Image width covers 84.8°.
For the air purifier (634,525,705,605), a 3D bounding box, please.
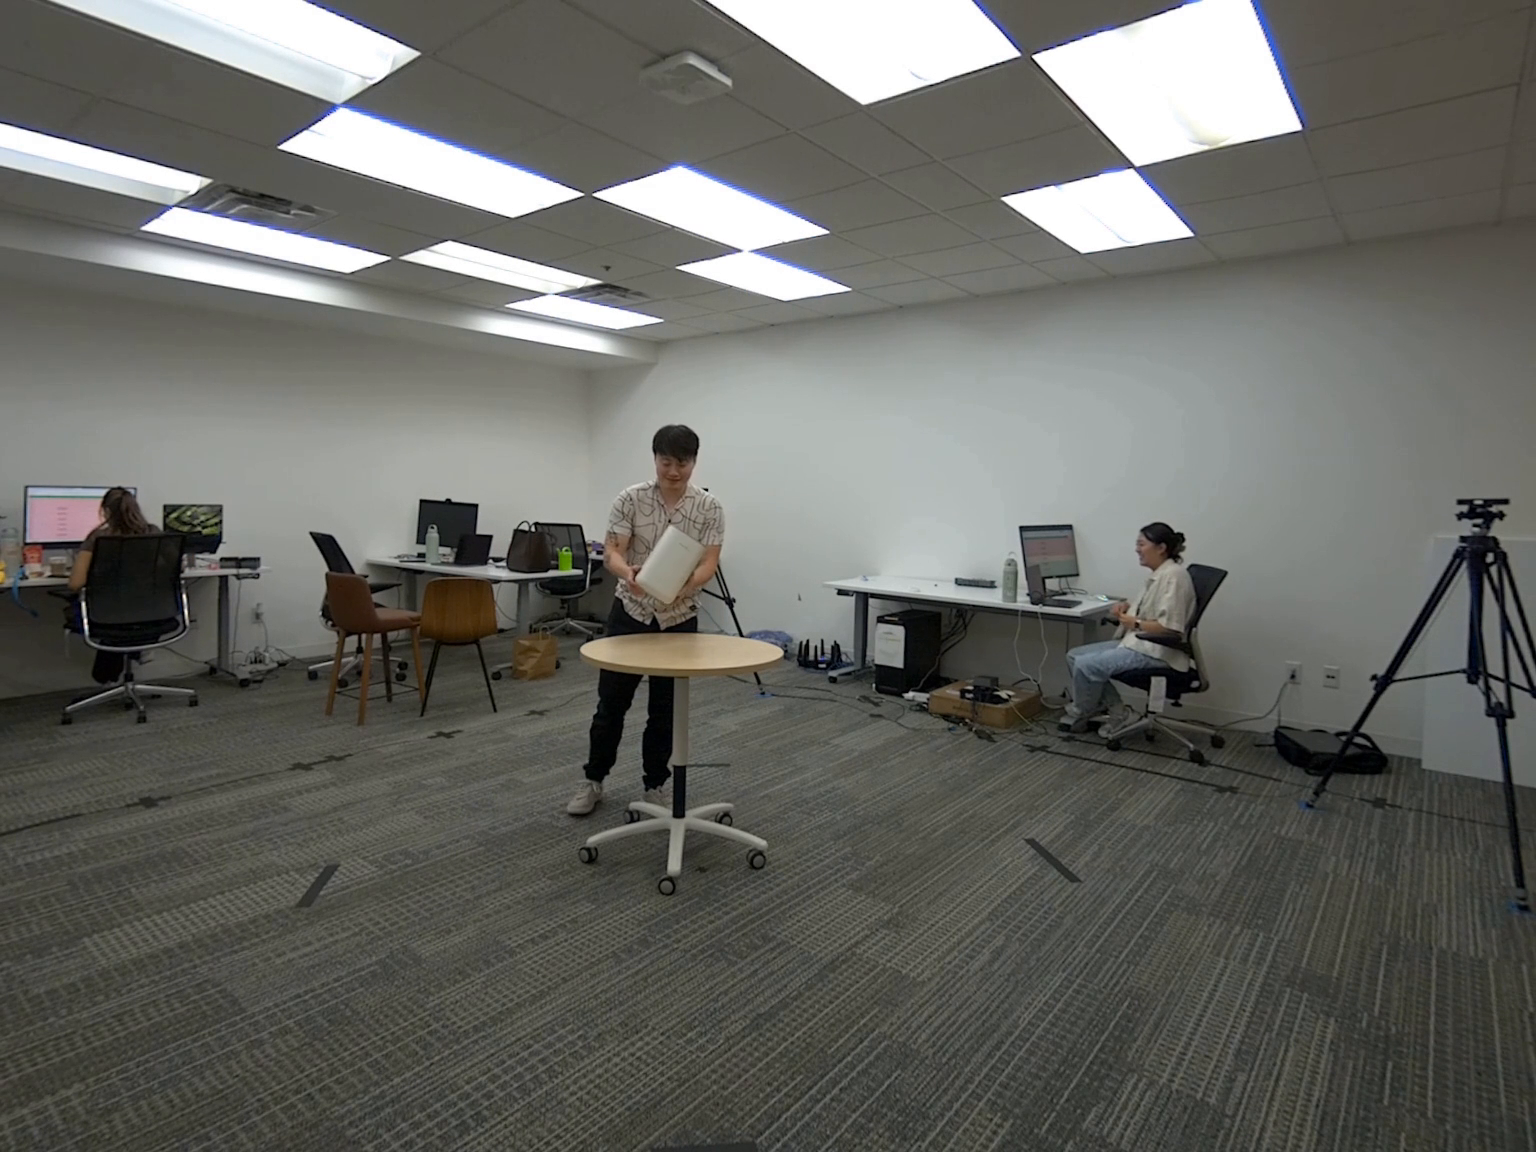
[{"bbox_3d":[-0.400,-0.048,3.282,0.168,0.266,0.174,31,-8,-12],"label":"air purifier"}]
